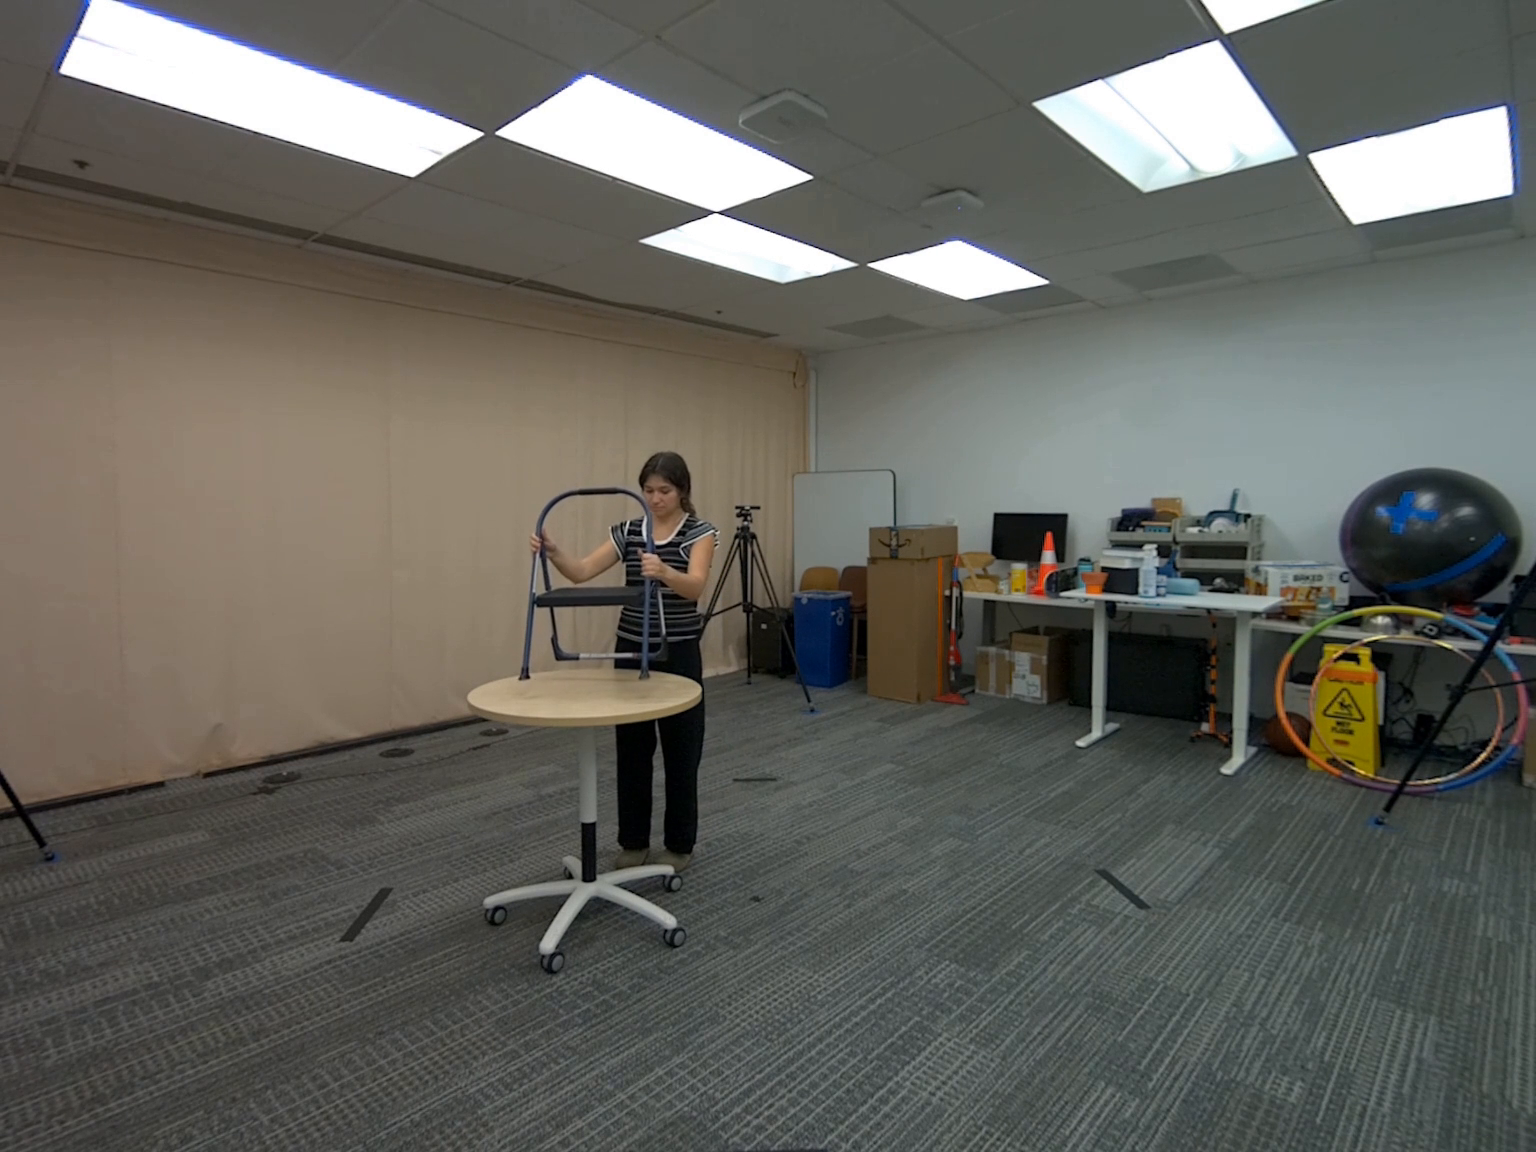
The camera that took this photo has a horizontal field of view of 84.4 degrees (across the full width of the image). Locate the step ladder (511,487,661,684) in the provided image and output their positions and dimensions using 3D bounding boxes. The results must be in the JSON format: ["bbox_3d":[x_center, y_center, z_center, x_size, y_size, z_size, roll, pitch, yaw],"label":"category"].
[{"bbox_3d":[-0.573,0.014,2.807,0.435,0.605,0.347,0,3,8],"label":"step ladder"}]
